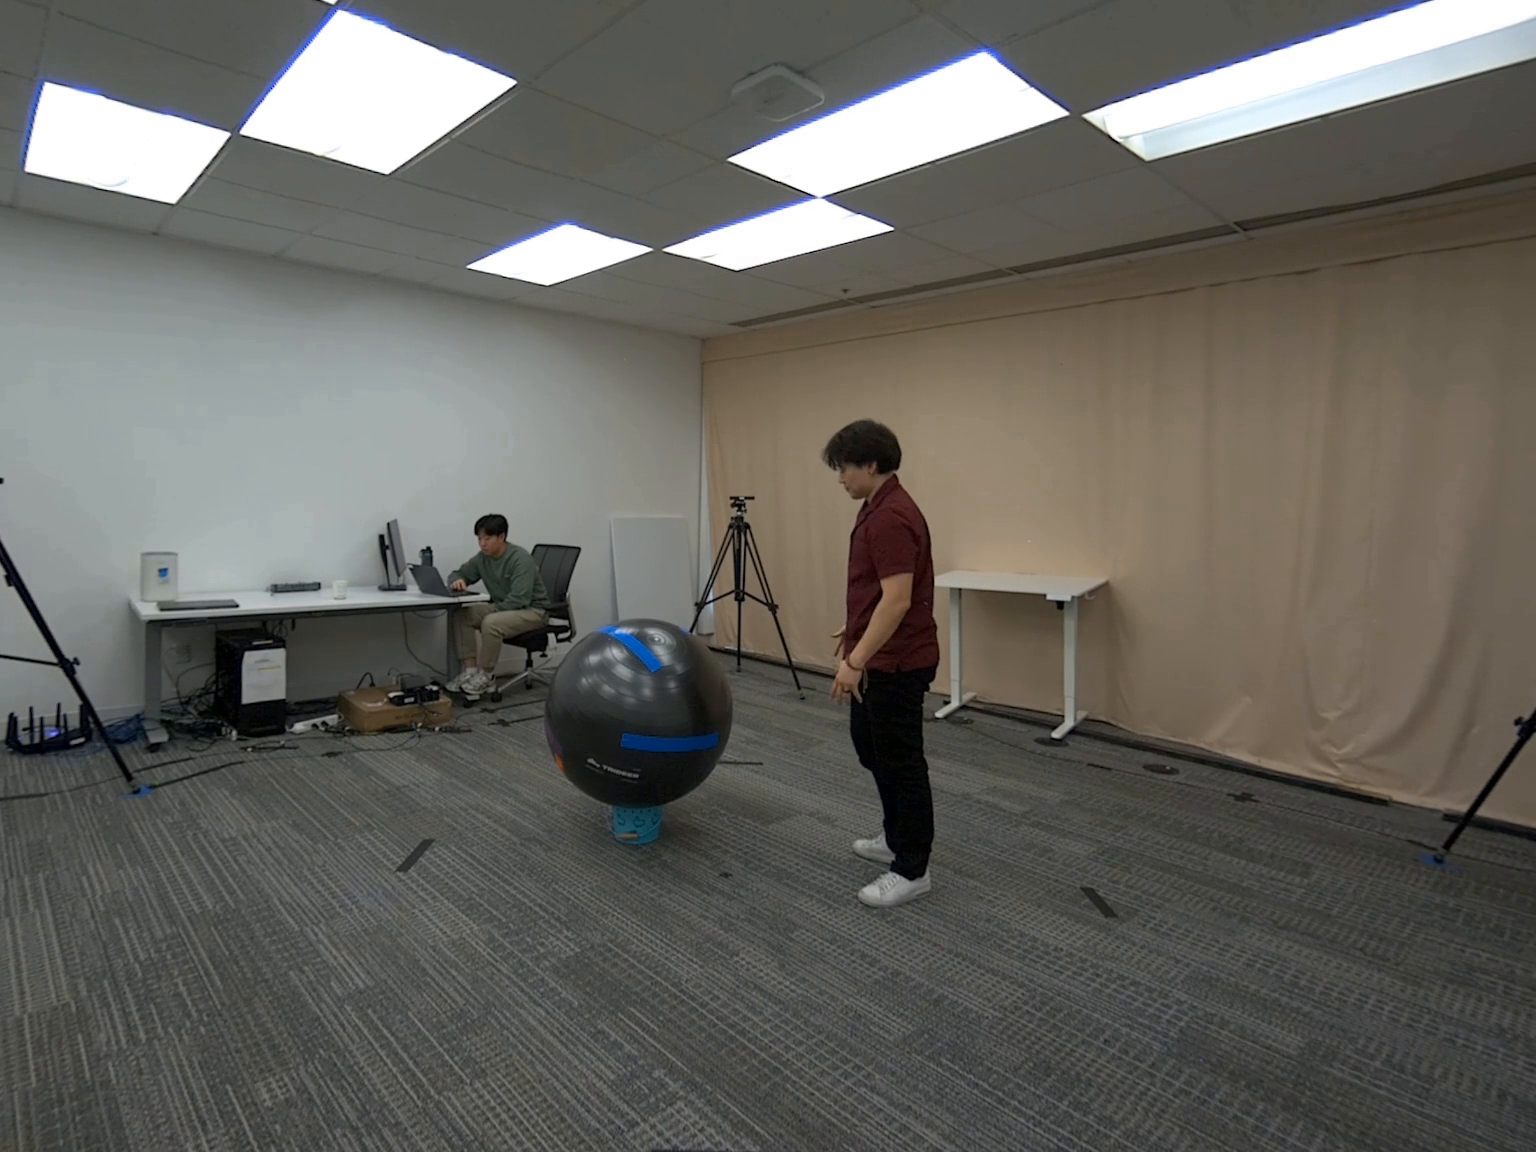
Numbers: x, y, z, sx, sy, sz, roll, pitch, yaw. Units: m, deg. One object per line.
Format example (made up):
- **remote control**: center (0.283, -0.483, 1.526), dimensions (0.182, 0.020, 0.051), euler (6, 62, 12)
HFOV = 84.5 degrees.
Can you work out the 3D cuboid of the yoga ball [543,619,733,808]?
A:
- **yoga ball**: center (-0.532, 0.559, 3.442), dimensions (0.757, 0.756, 0.761), euler (1, 4, -1)
